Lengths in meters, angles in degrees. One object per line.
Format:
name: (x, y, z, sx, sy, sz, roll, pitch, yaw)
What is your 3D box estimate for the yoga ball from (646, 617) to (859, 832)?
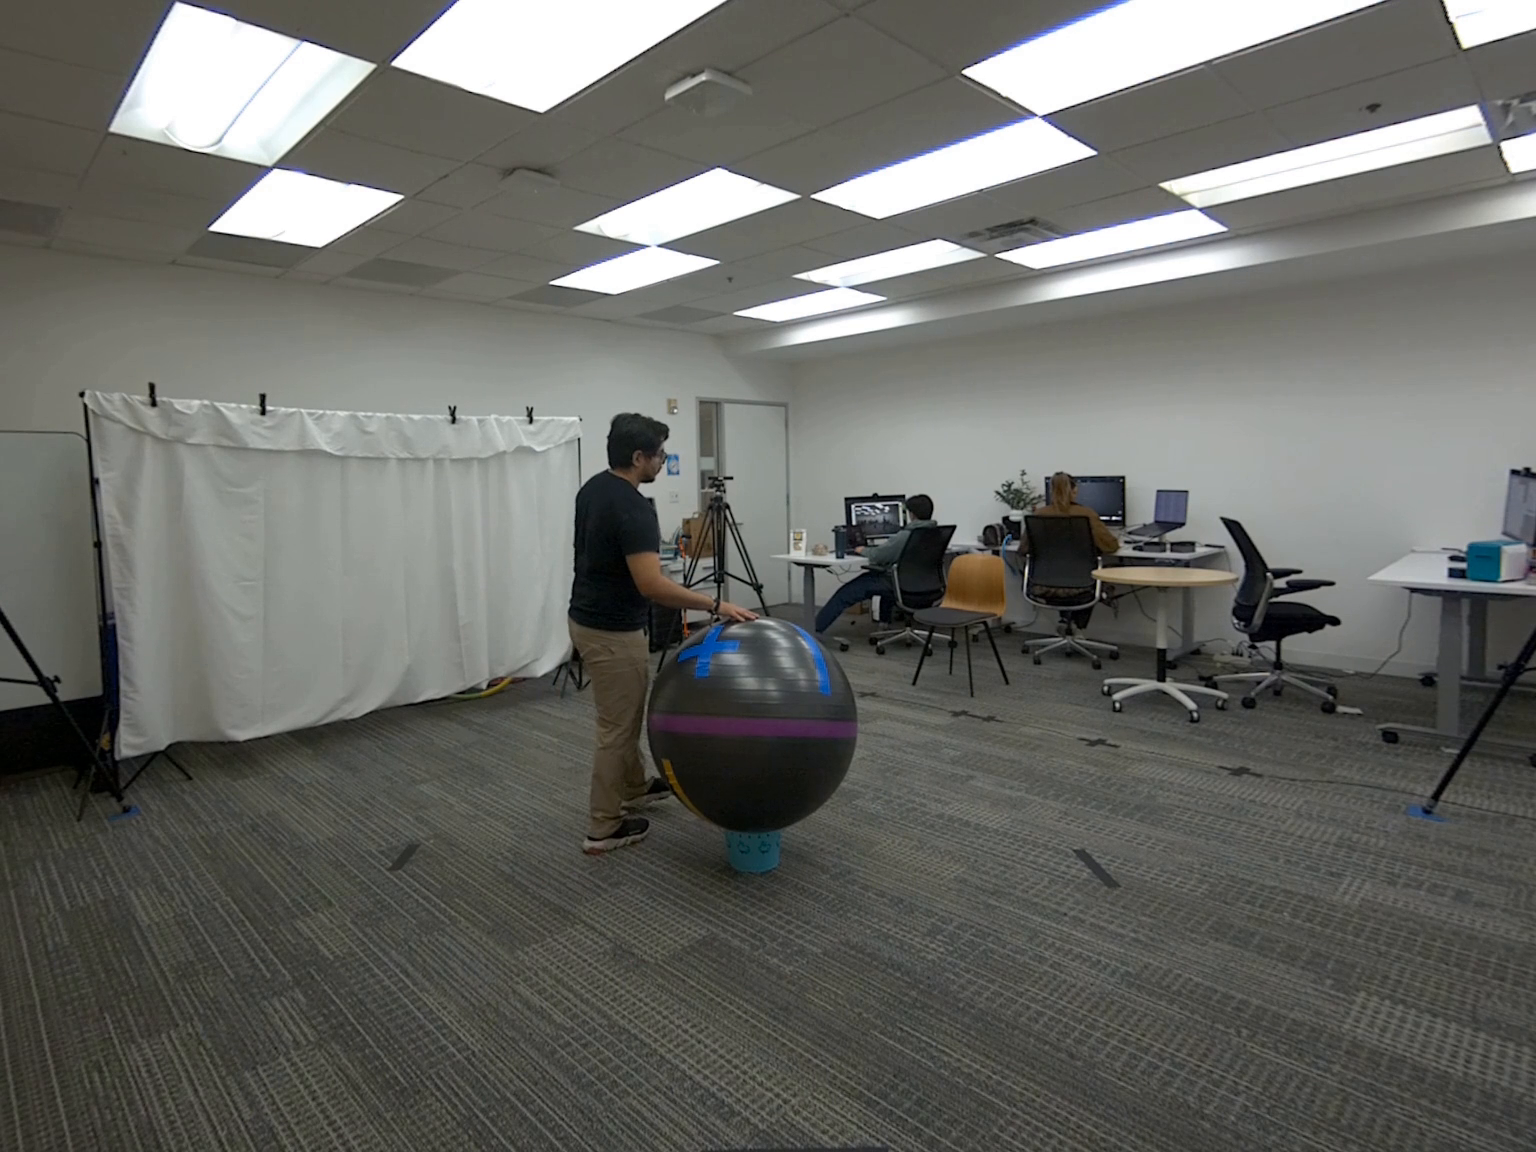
yoga ball: (-0.055, 0.528, 3.094, 0.757, 0.755, 0.762, -1, 5, -2)
